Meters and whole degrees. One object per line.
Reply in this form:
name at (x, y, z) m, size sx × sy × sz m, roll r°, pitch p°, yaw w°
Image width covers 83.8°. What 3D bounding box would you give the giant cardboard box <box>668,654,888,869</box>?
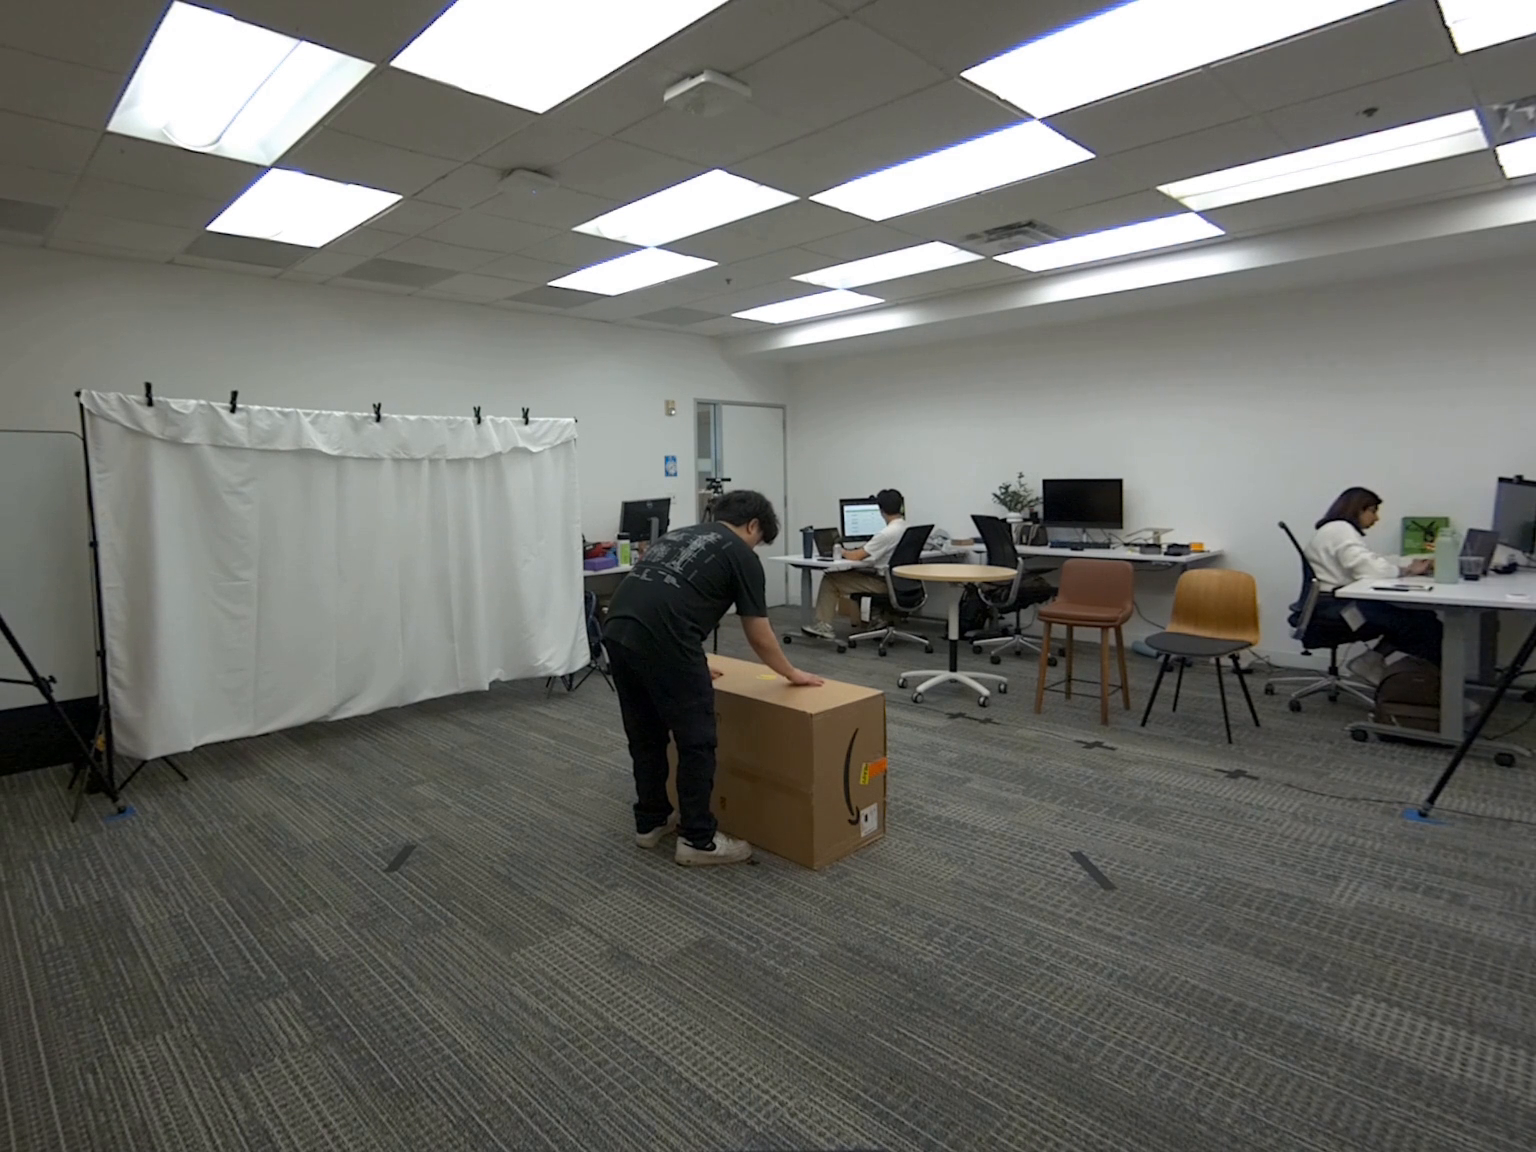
giant cardboard box at (-0.055, 0.709, 3.531) m, size 0.435 × 0.582 × 1.059 m, roll -4°, pitch 7°, yaw -44°
